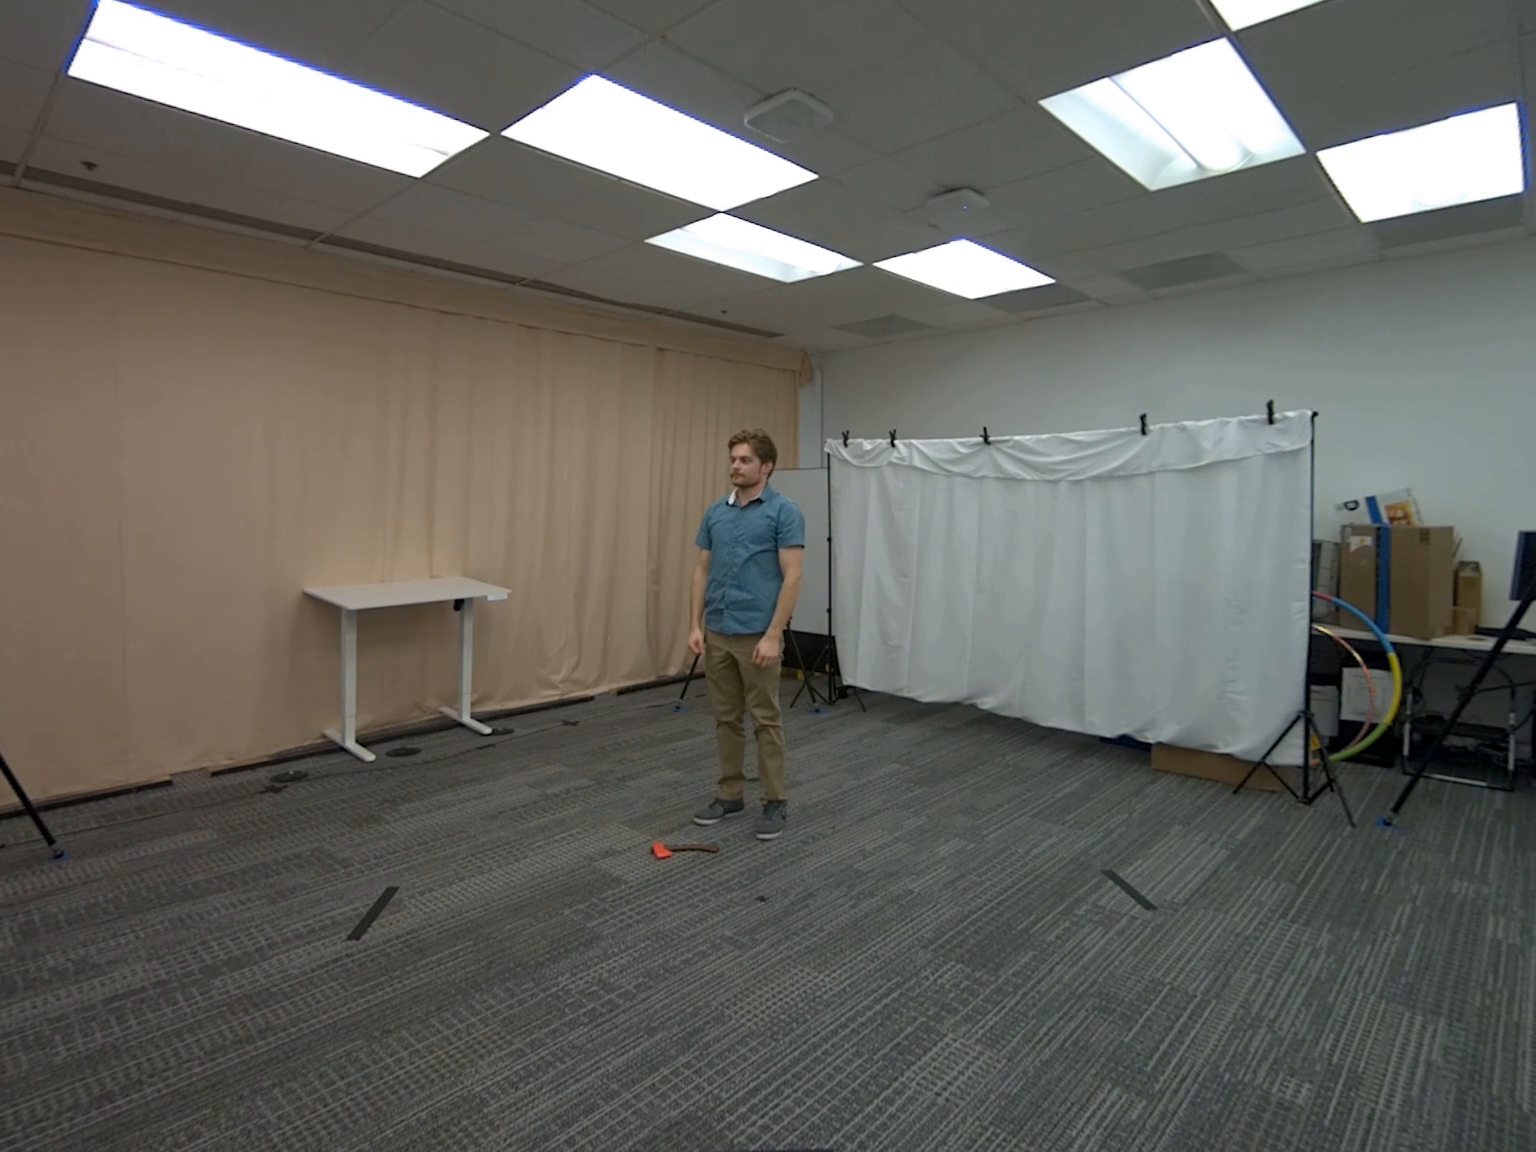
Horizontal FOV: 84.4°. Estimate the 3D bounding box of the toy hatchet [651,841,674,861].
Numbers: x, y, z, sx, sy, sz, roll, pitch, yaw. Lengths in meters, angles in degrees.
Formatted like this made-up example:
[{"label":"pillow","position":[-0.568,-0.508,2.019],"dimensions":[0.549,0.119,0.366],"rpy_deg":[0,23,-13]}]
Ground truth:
[{"label":"toy hatchet","position":[-0.336,1.102,3.366],"dimensions":[0.273,0.029,0.130],"rpy_deg":[2,5,9]}]
